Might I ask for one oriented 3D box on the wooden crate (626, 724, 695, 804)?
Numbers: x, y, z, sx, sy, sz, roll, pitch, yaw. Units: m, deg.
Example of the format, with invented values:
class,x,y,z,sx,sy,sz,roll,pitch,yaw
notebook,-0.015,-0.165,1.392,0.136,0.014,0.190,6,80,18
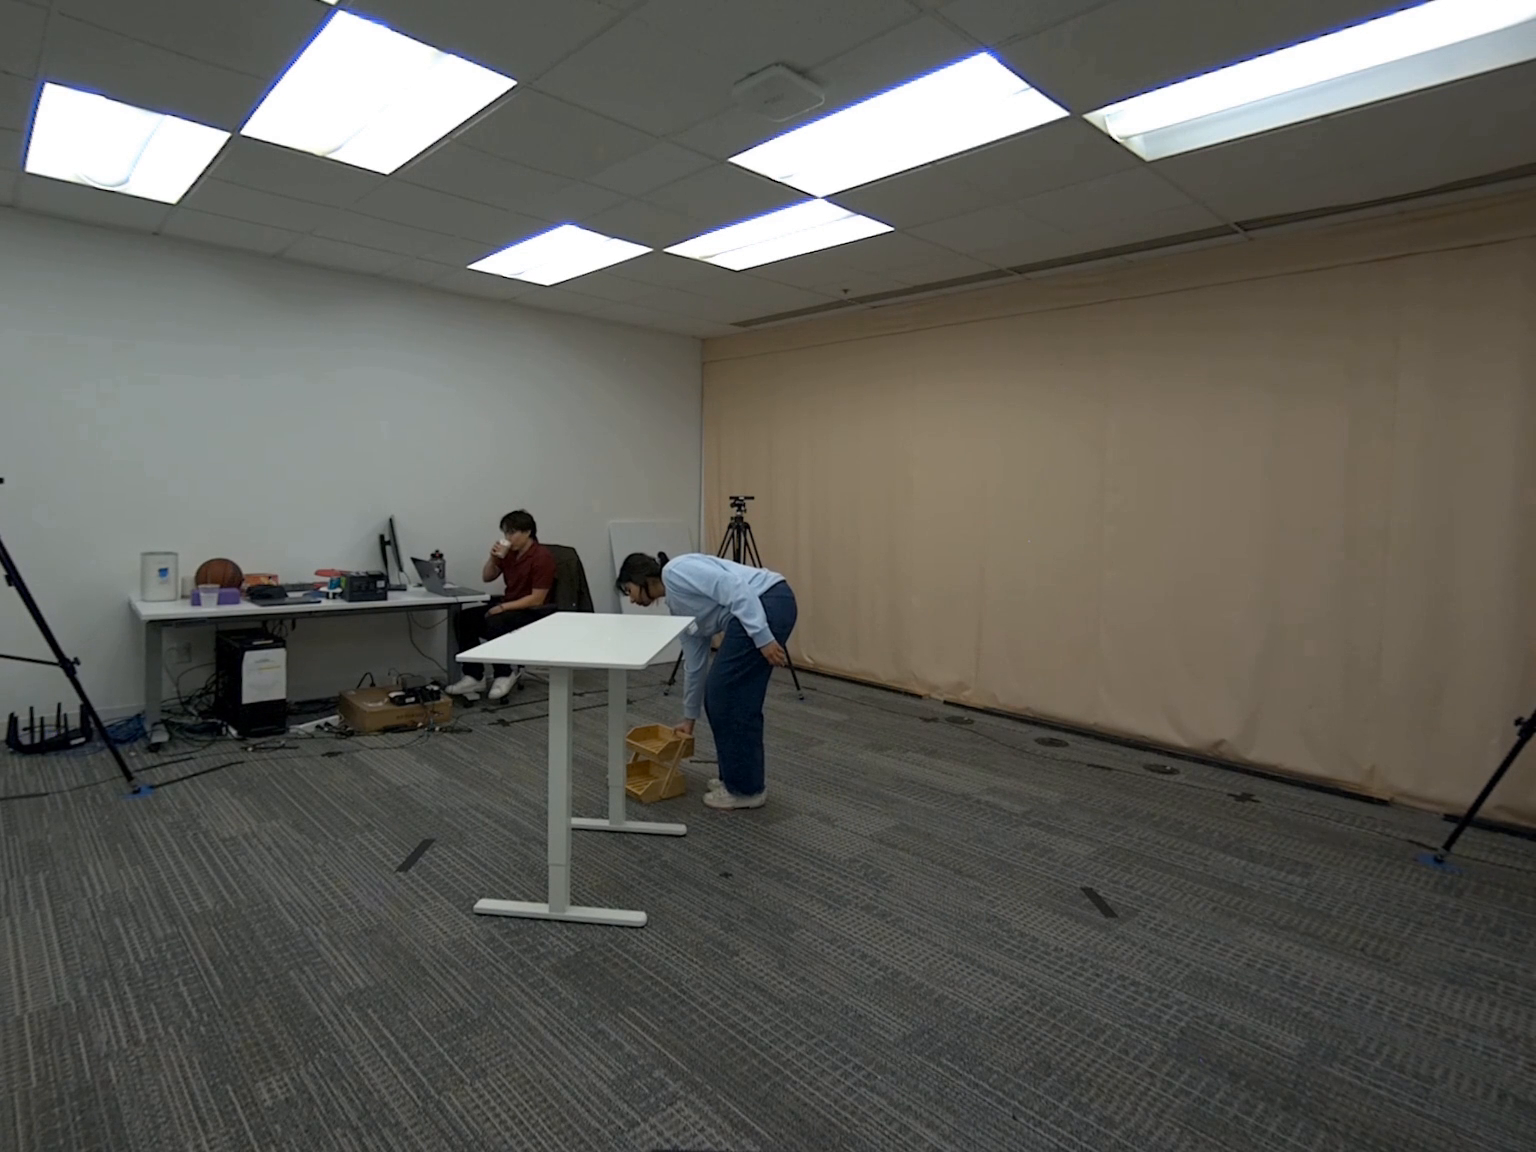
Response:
class,x,y,z,sx,sy,sz,roll,pitch,yaw
wooden crate,-0.566,0.868,3.996,0.295,0.272,0.333,-3,6,-41
